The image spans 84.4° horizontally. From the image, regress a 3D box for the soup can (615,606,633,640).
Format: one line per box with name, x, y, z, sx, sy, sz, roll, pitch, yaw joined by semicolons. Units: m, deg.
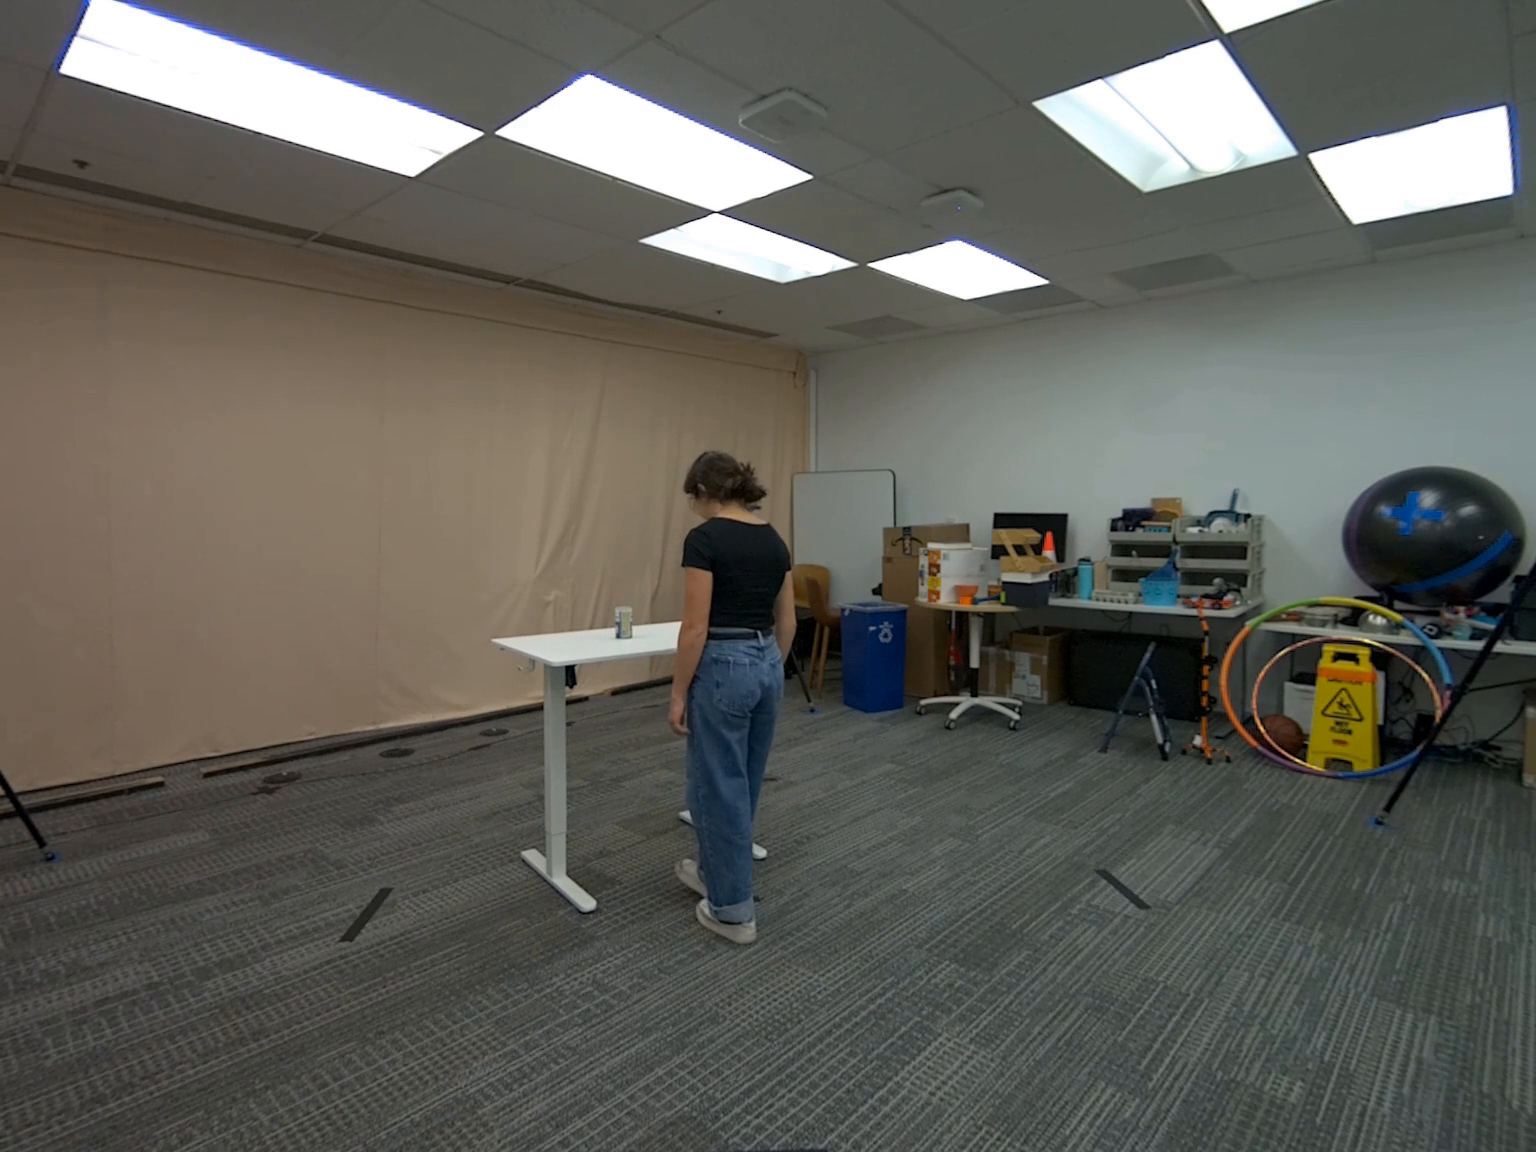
soup can;-0.565;0.184;3.281;0.067;0.121;0.067;3;2;-2
